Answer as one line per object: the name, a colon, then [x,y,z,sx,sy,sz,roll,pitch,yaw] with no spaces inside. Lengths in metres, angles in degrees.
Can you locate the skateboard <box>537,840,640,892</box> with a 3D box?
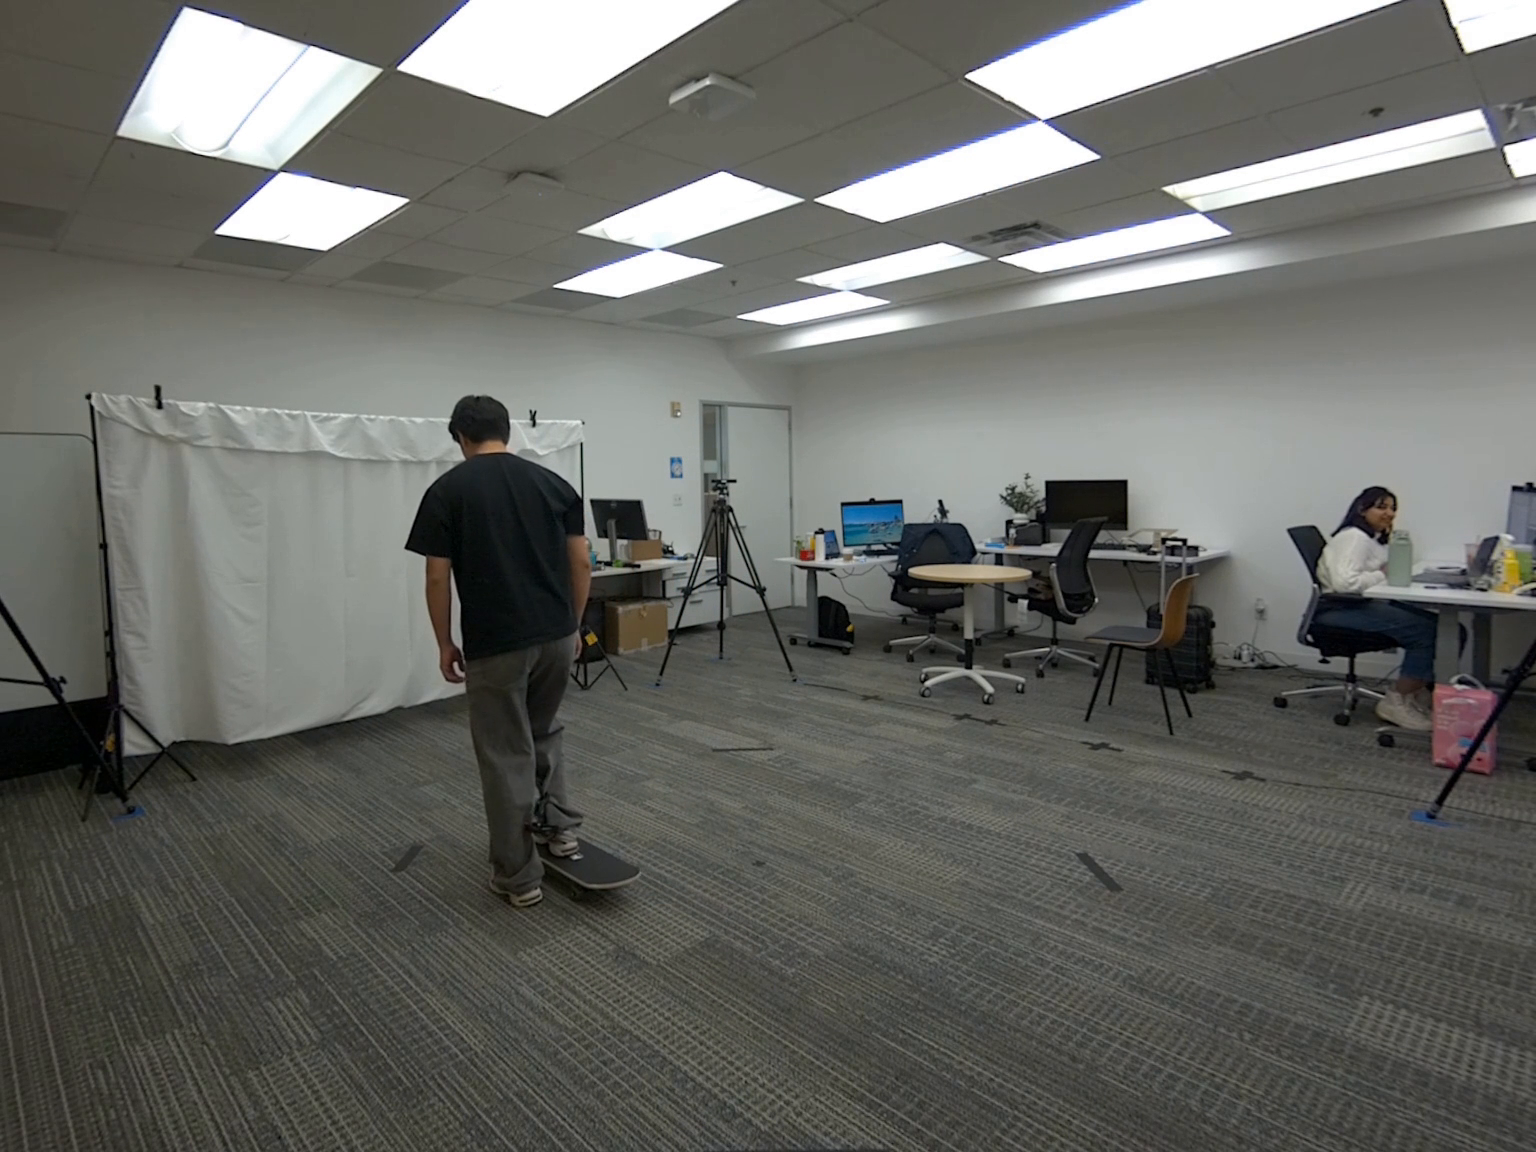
skateboard: [-0.725,1.016,3.062,0.188,0.110,0.810,-7,9,-45]
